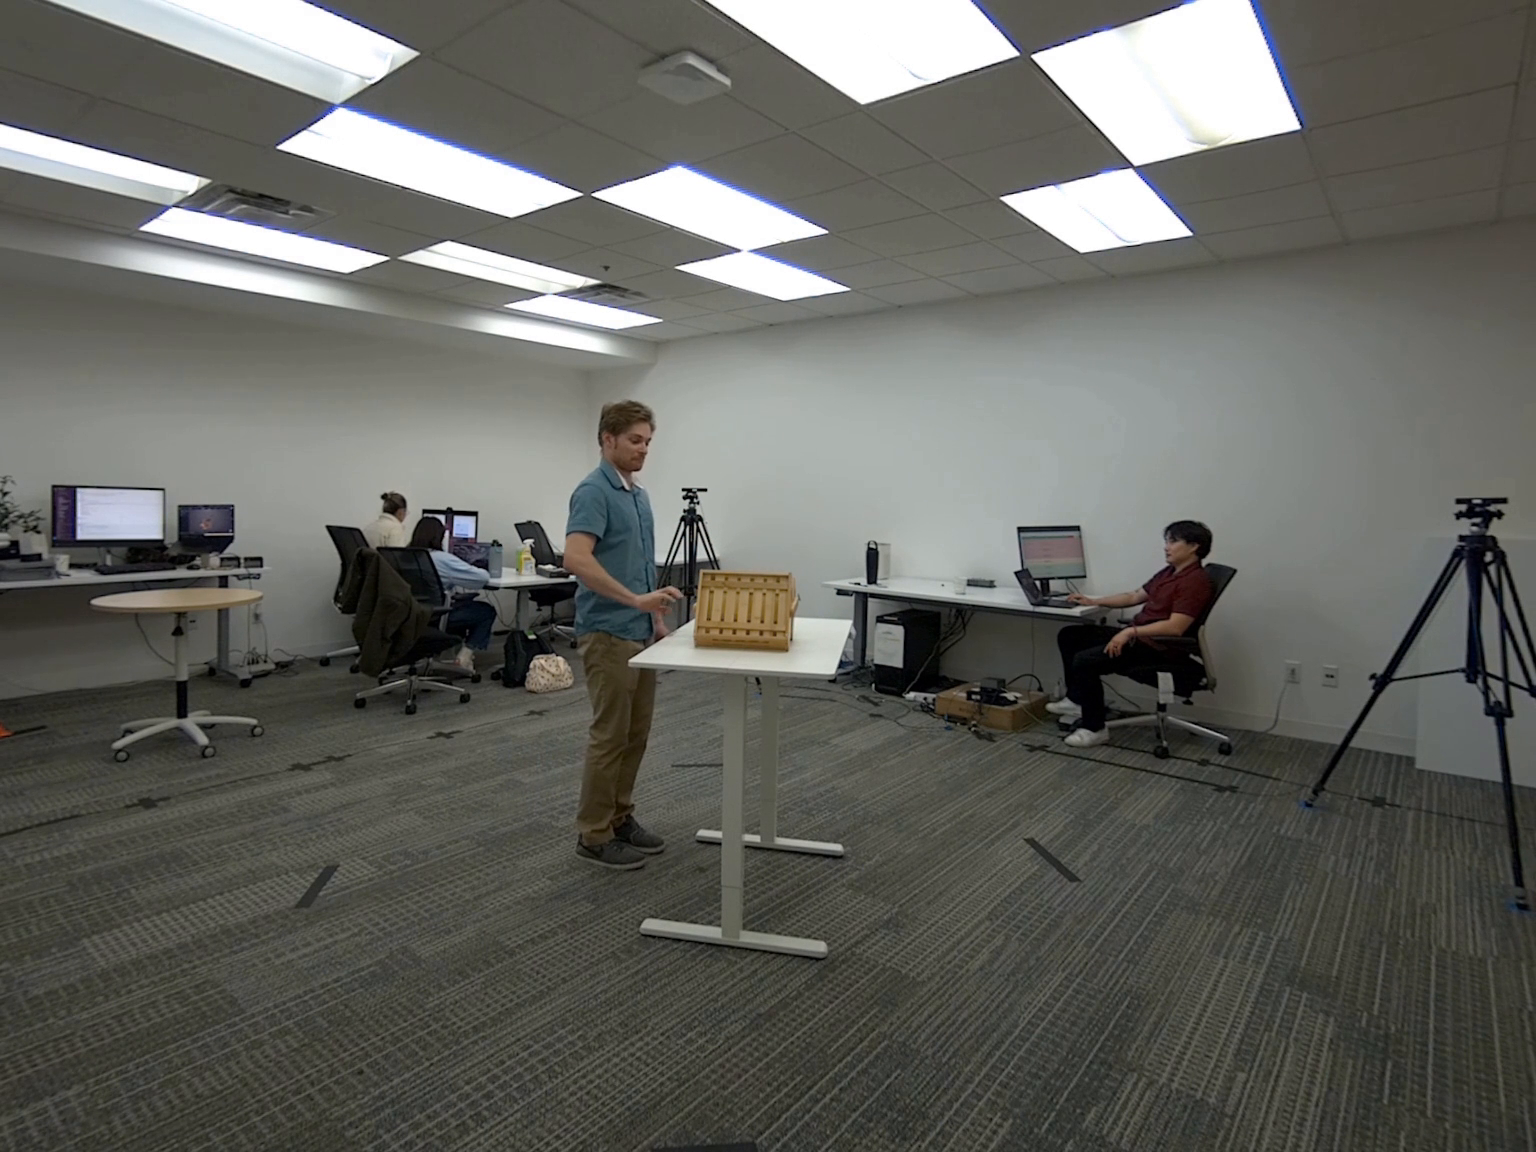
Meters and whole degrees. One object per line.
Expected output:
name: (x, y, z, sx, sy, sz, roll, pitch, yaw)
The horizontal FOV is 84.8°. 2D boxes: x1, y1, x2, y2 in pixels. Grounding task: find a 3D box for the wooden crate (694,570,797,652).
wooden crate: (-0.074, 0.124, 2.848, 0.327, 0.308, 0.266, 1, -22, 7)
